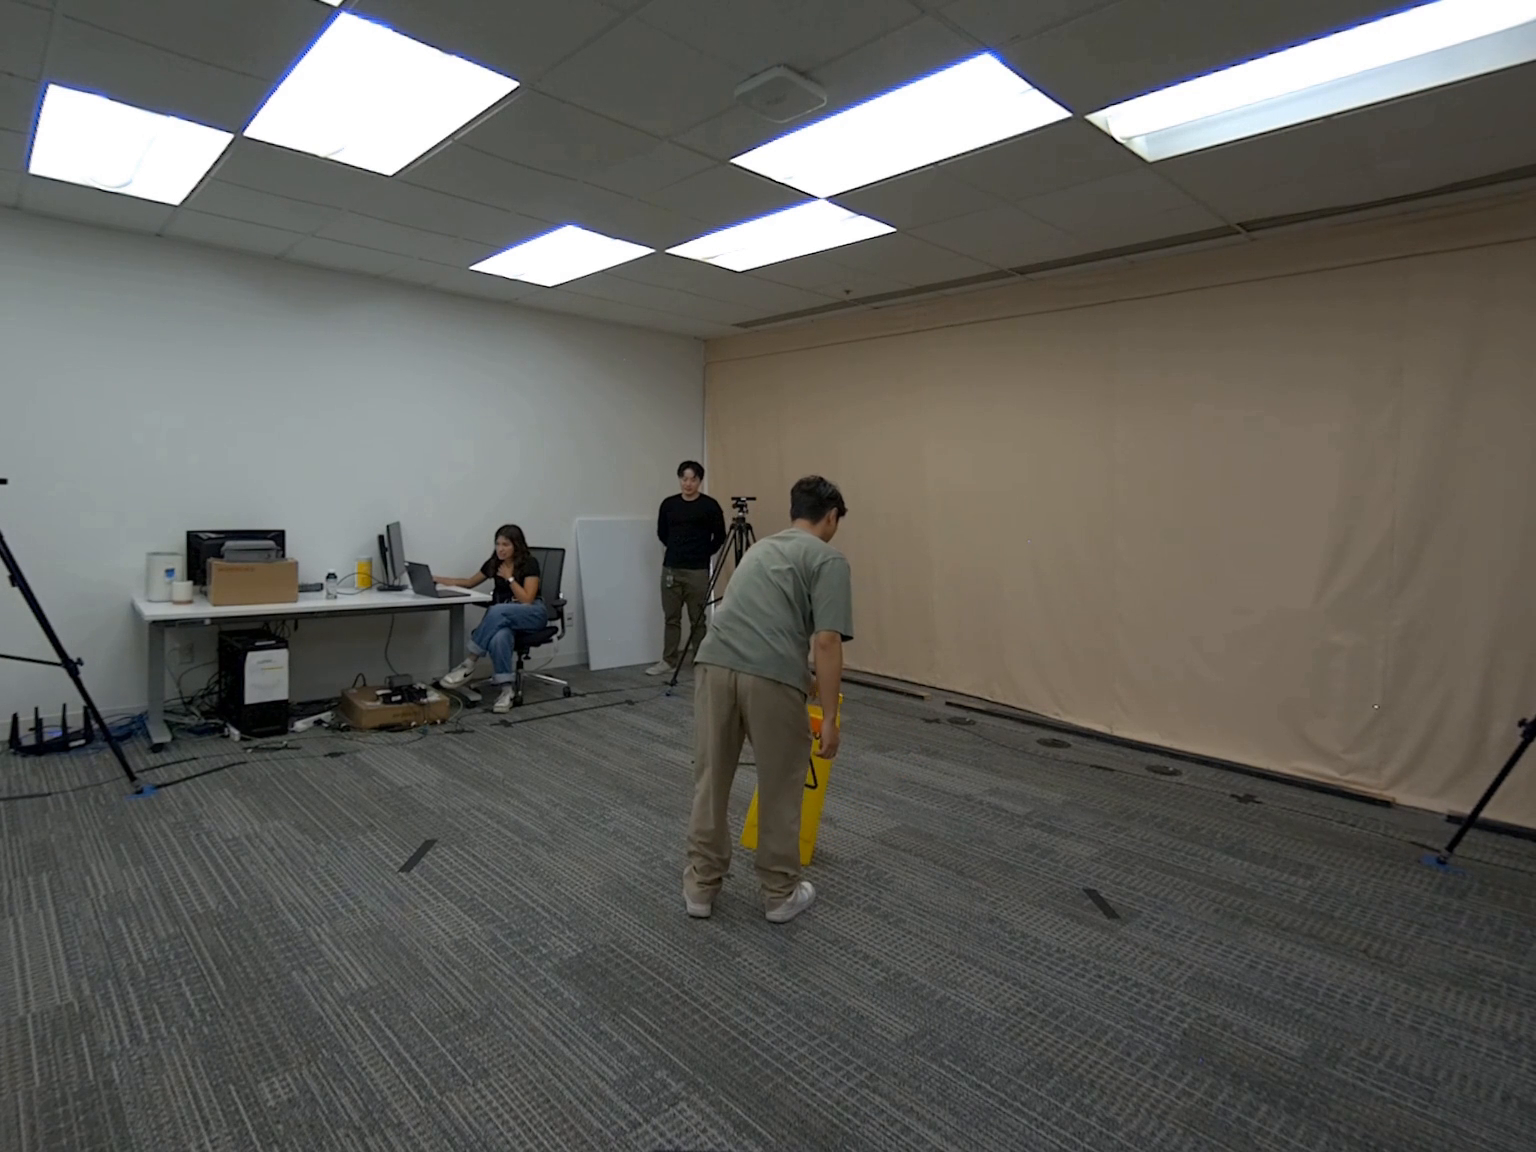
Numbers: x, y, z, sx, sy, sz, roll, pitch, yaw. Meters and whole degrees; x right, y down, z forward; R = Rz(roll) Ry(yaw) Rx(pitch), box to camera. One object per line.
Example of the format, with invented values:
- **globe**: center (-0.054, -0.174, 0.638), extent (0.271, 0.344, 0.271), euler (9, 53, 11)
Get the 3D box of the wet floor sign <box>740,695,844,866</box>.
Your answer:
- **wet floor sign**: center (0.111, 0.756, 3.329), extent (0.284, 0.645, 0.288), euler (16, 3, 5)
